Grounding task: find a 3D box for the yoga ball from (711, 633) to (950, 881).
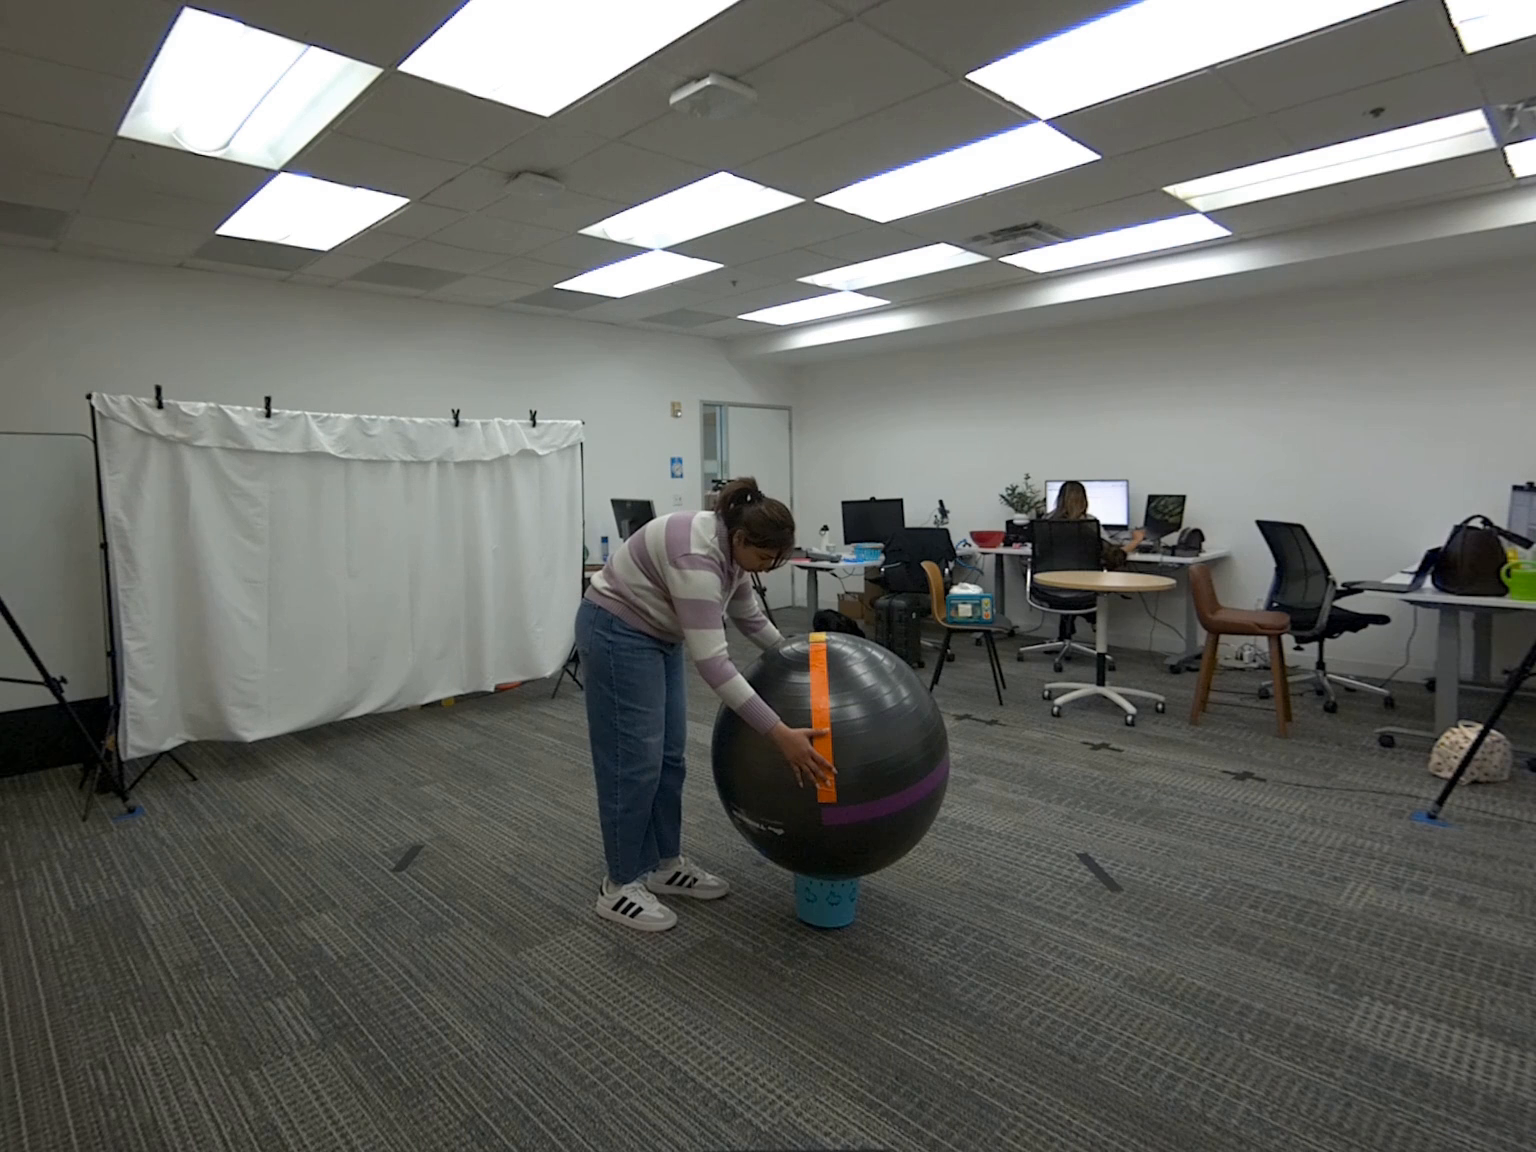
[{"bbox_3d":[0.197,0.562,2.741,0.757,0.755,0.762,-1,5,-2],"label":"yoga ball"}]
